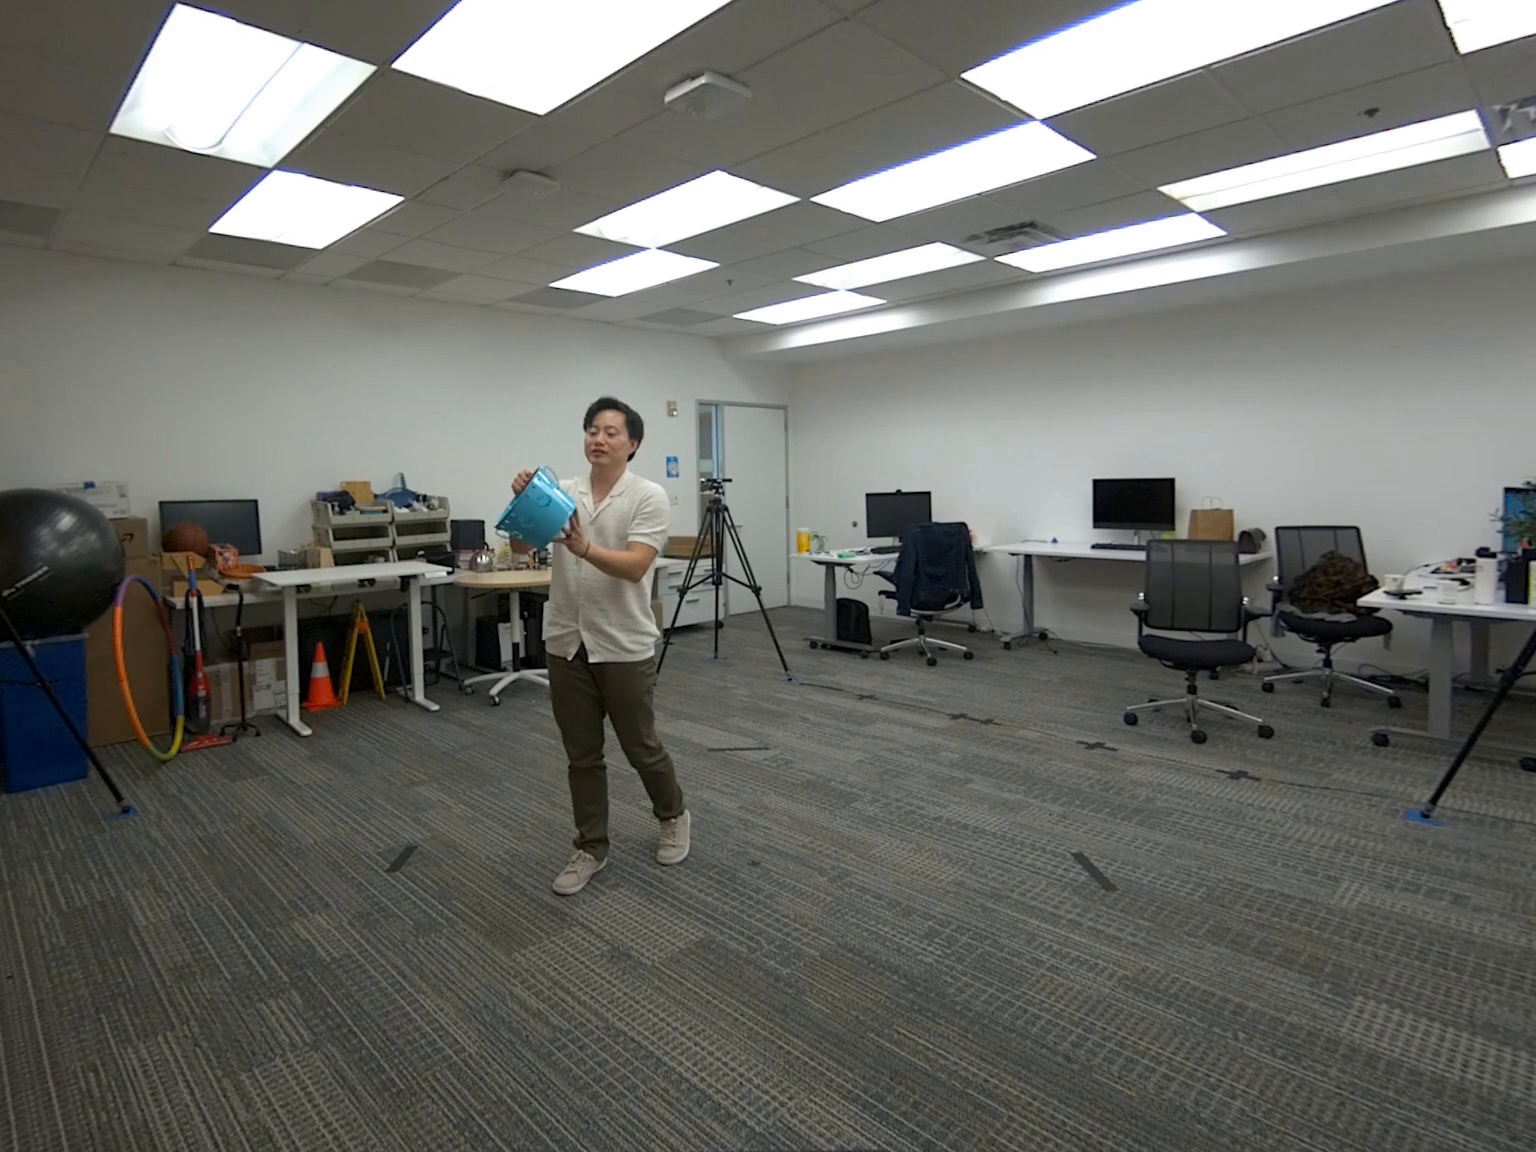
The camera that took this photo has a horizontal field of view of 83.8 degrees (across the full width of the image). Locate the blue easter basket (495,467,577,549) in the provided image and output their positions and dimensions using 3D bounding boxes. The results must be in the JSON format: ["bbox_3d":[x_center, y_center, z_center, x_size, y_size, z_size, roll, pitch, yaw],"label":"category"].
[{"bbox_3d":[-0.698,-0.196,2.566,0.153,0.244,0.248,40,-7,-16],"label":"blue easter basket"}]
